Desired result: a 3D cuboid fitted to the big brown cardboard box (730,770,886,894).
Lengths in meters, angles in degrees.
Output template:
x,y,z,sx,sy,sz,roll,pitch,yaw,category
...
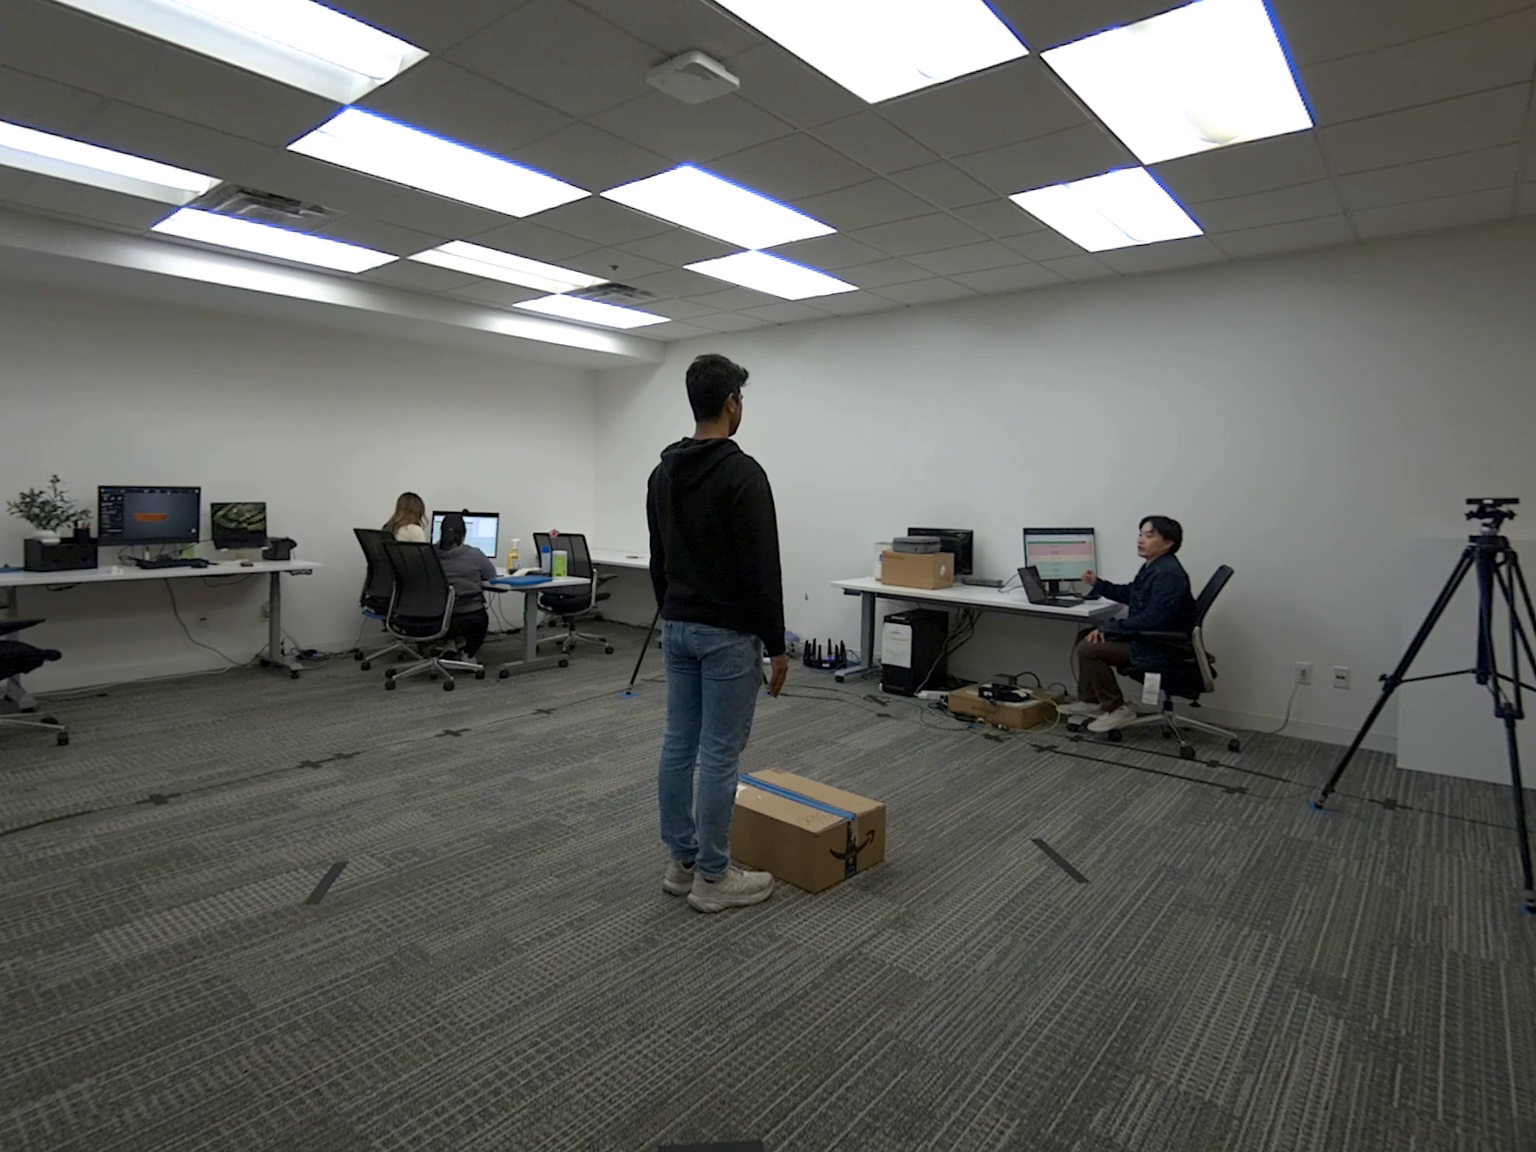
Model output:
x,y,z,sx,sy,sz,roll,pitch,yaw,category
0.084,0.951,3.254,0.610,0.232,0.405,7,8,43,big brown cardboard box
